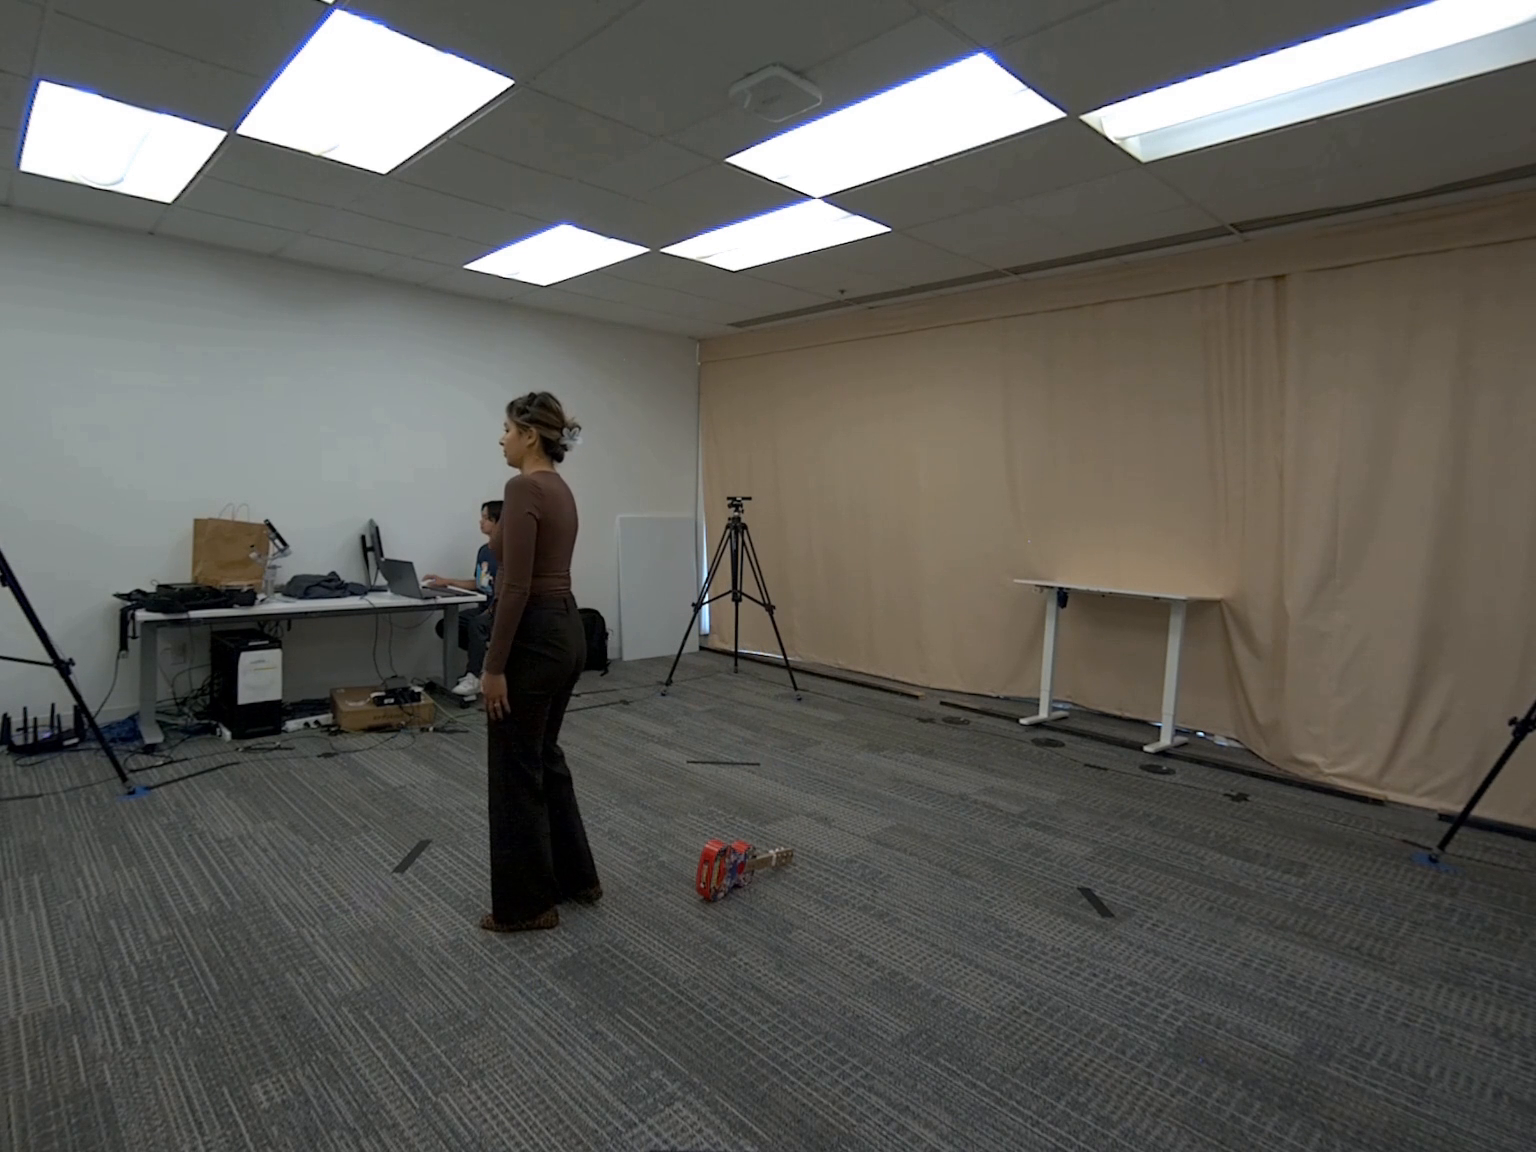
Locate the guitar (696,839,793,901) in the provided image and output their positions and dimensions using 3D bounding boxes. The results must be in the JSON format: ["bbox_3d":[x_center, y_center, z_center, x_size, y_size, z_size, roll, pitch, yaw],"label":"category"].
[{"bbox_3d":[-0.086,1.069,3.058,0.072,0.194,0.483,5,-12,38],"label":"guitar"}]
